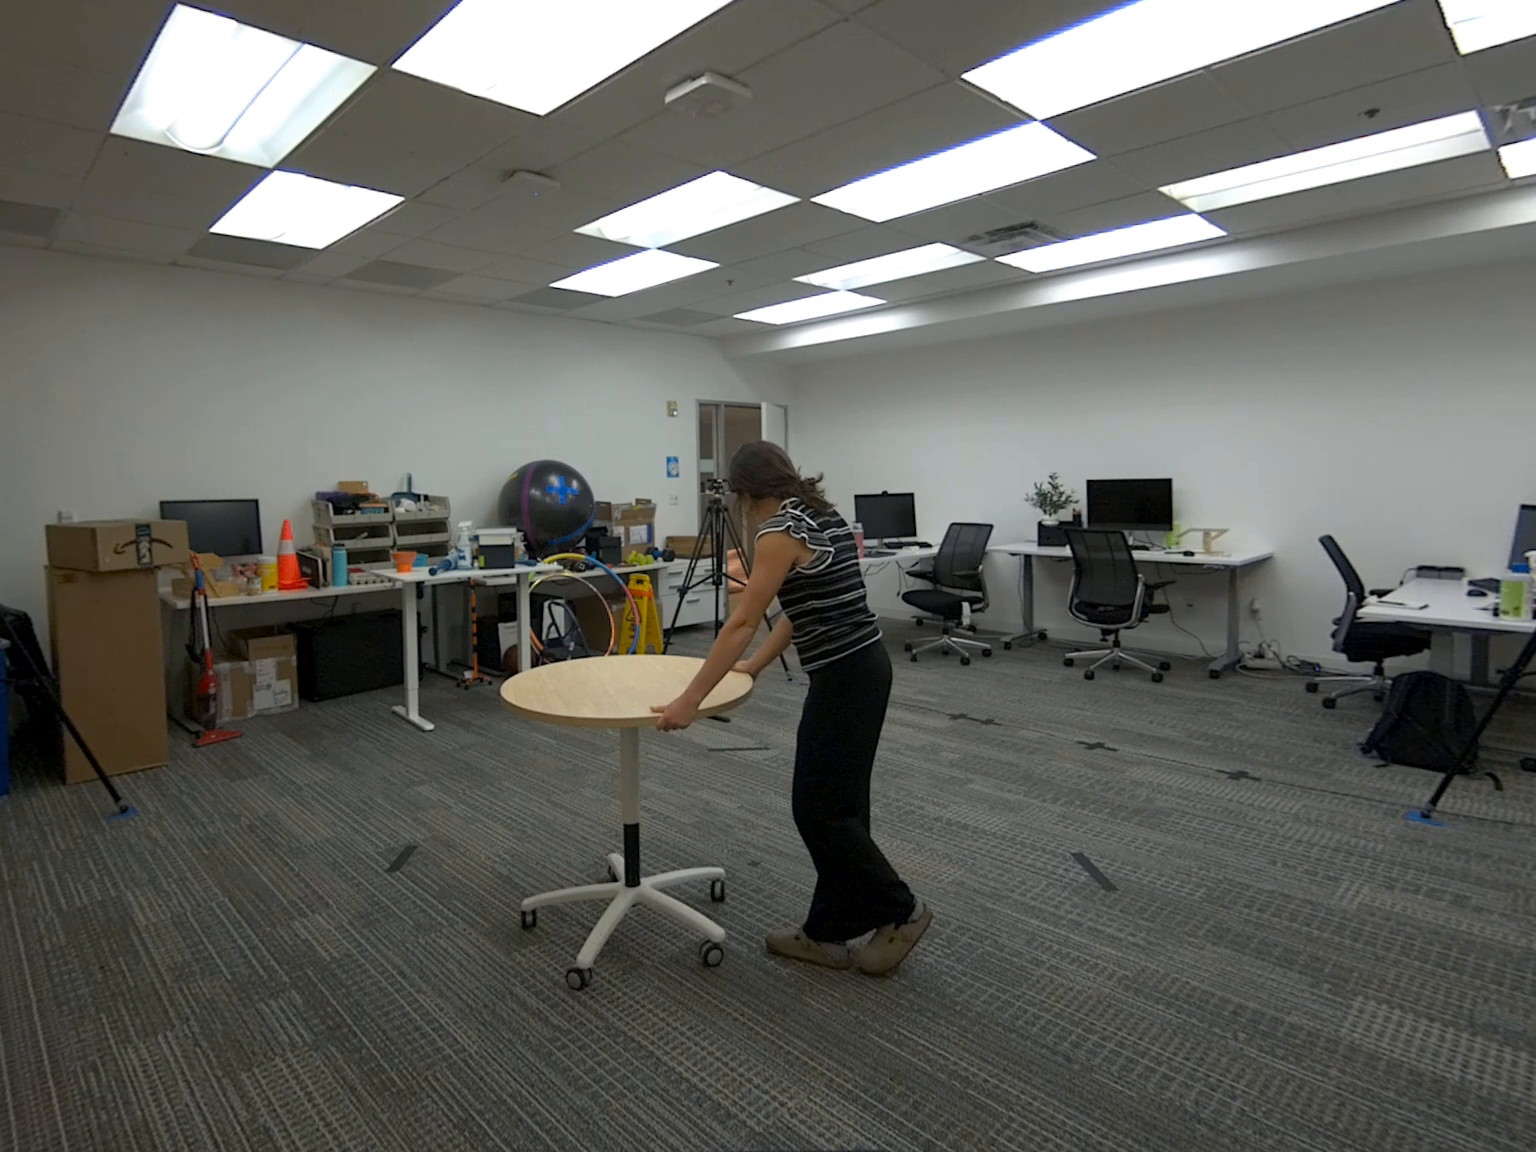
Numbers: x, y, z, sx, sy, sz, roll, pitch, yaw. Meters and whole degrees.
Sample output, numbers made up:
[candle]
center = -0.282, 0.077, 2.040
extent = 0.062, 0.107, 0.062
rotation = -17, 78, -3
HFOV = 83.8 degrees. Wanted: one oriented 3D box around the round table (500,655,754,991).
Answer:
[round table]
center = -0.425, 0.715, 2.659
extent = 0.763, 0.790, 0.768
rotation = -1, 6, -2
